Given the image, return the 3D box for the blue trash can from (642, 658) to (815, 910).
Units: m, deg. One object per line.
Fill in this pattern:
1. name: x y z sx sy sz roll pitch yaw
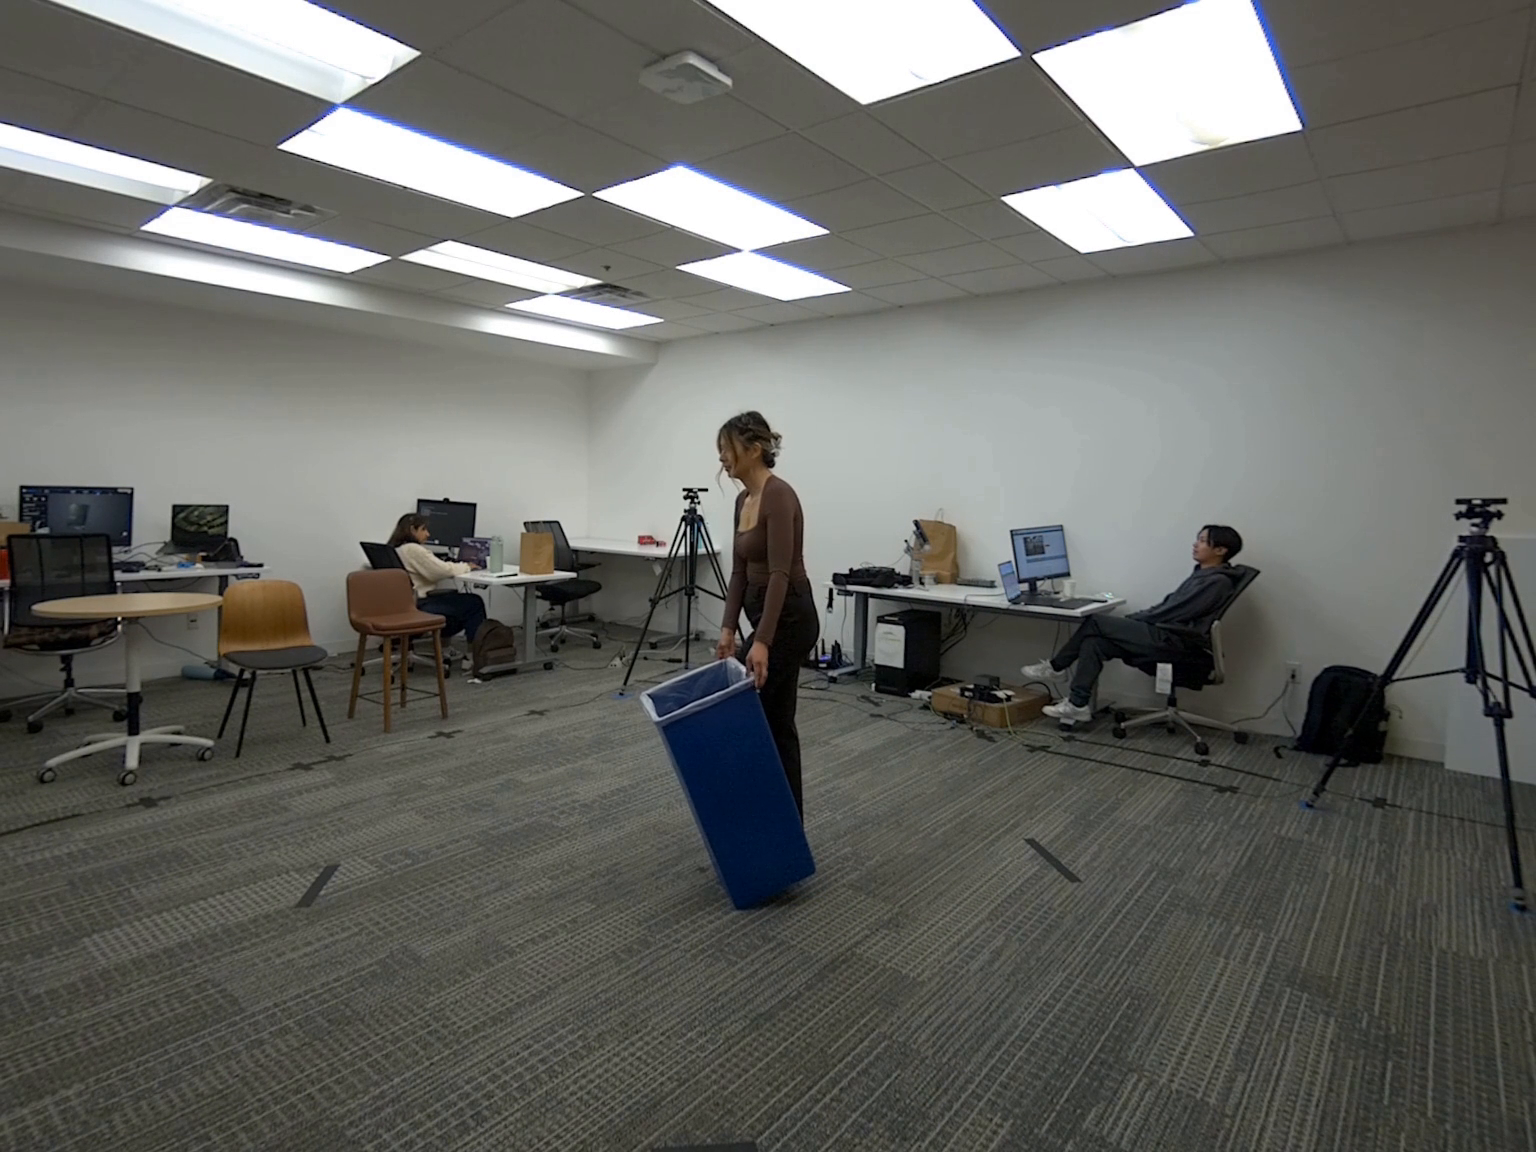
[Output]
1. blue trash can: -0.145 0.700 2.941 0.375 0.706 0.381 -21 8 -14
